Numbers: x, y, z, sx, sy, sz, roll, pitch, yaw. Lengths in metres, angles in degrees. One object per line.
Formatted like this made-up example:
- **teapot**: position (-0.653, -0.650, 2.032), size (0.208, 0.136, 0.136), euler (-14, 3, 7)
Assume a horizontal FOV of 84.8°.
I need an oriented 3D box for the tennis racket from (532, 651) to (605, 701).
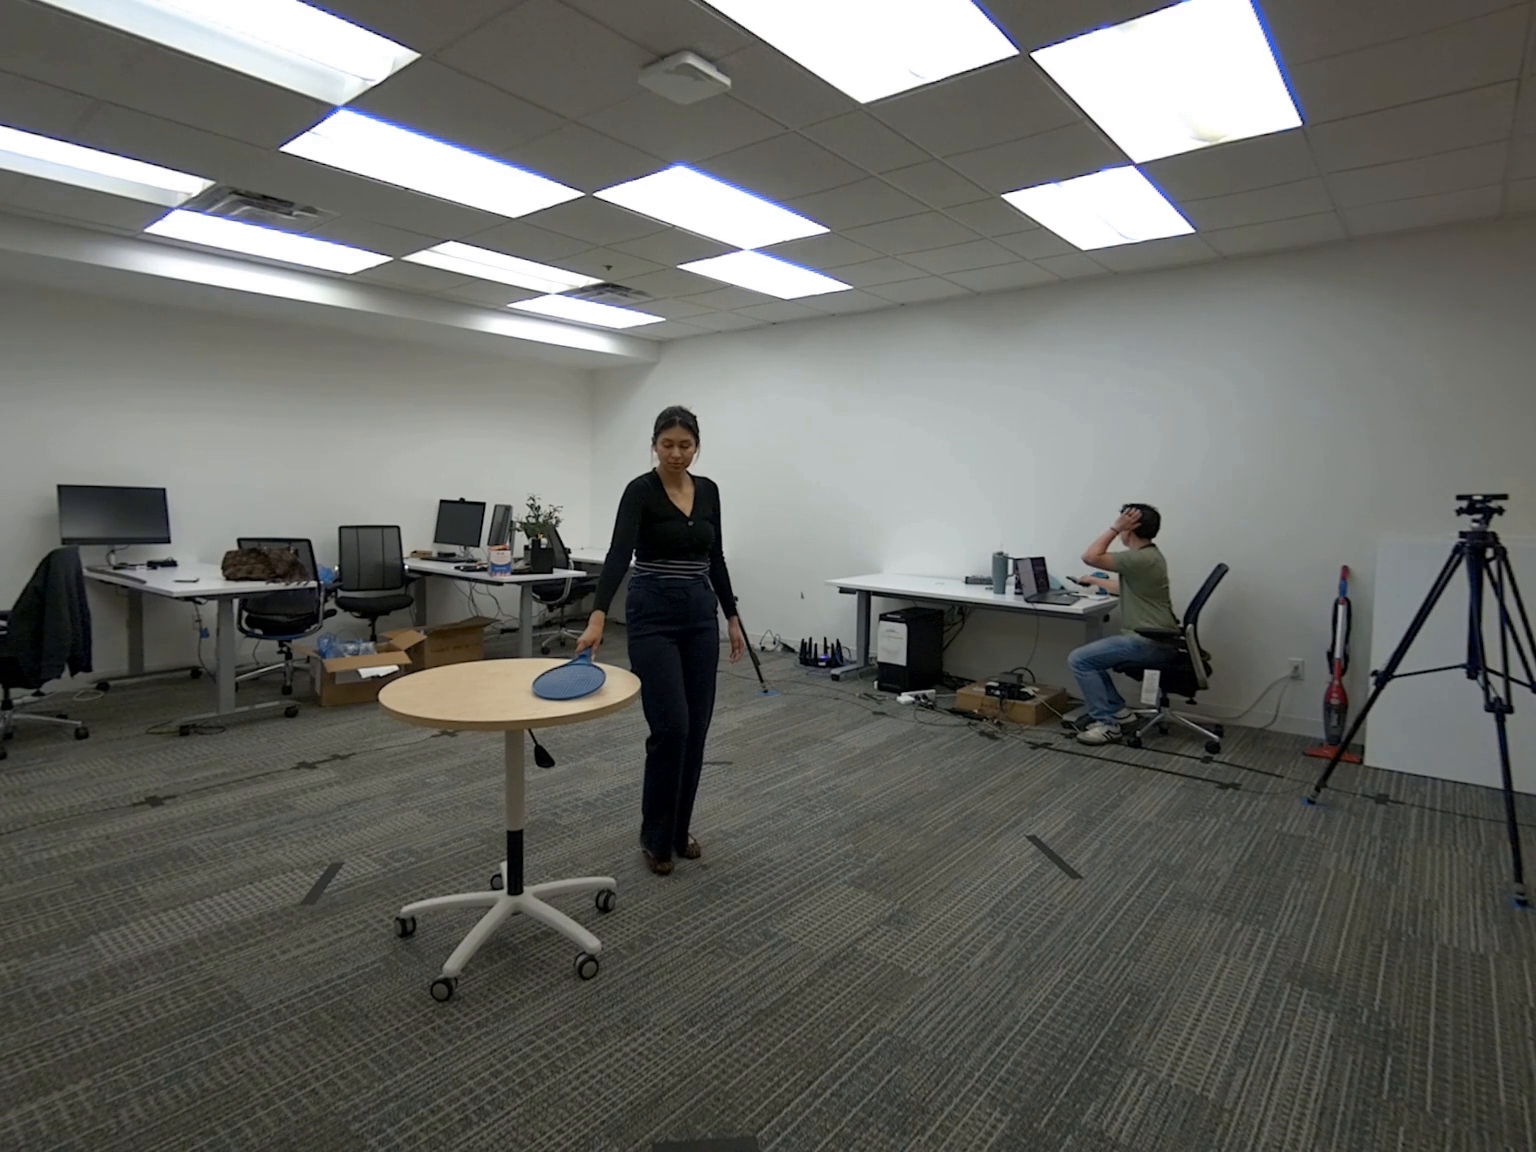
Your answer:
- **tennis racket**: position (-0.617, 0.288, 2.600), size (0.213, 0.031, 0.440), euler (-2, 15, -4)
